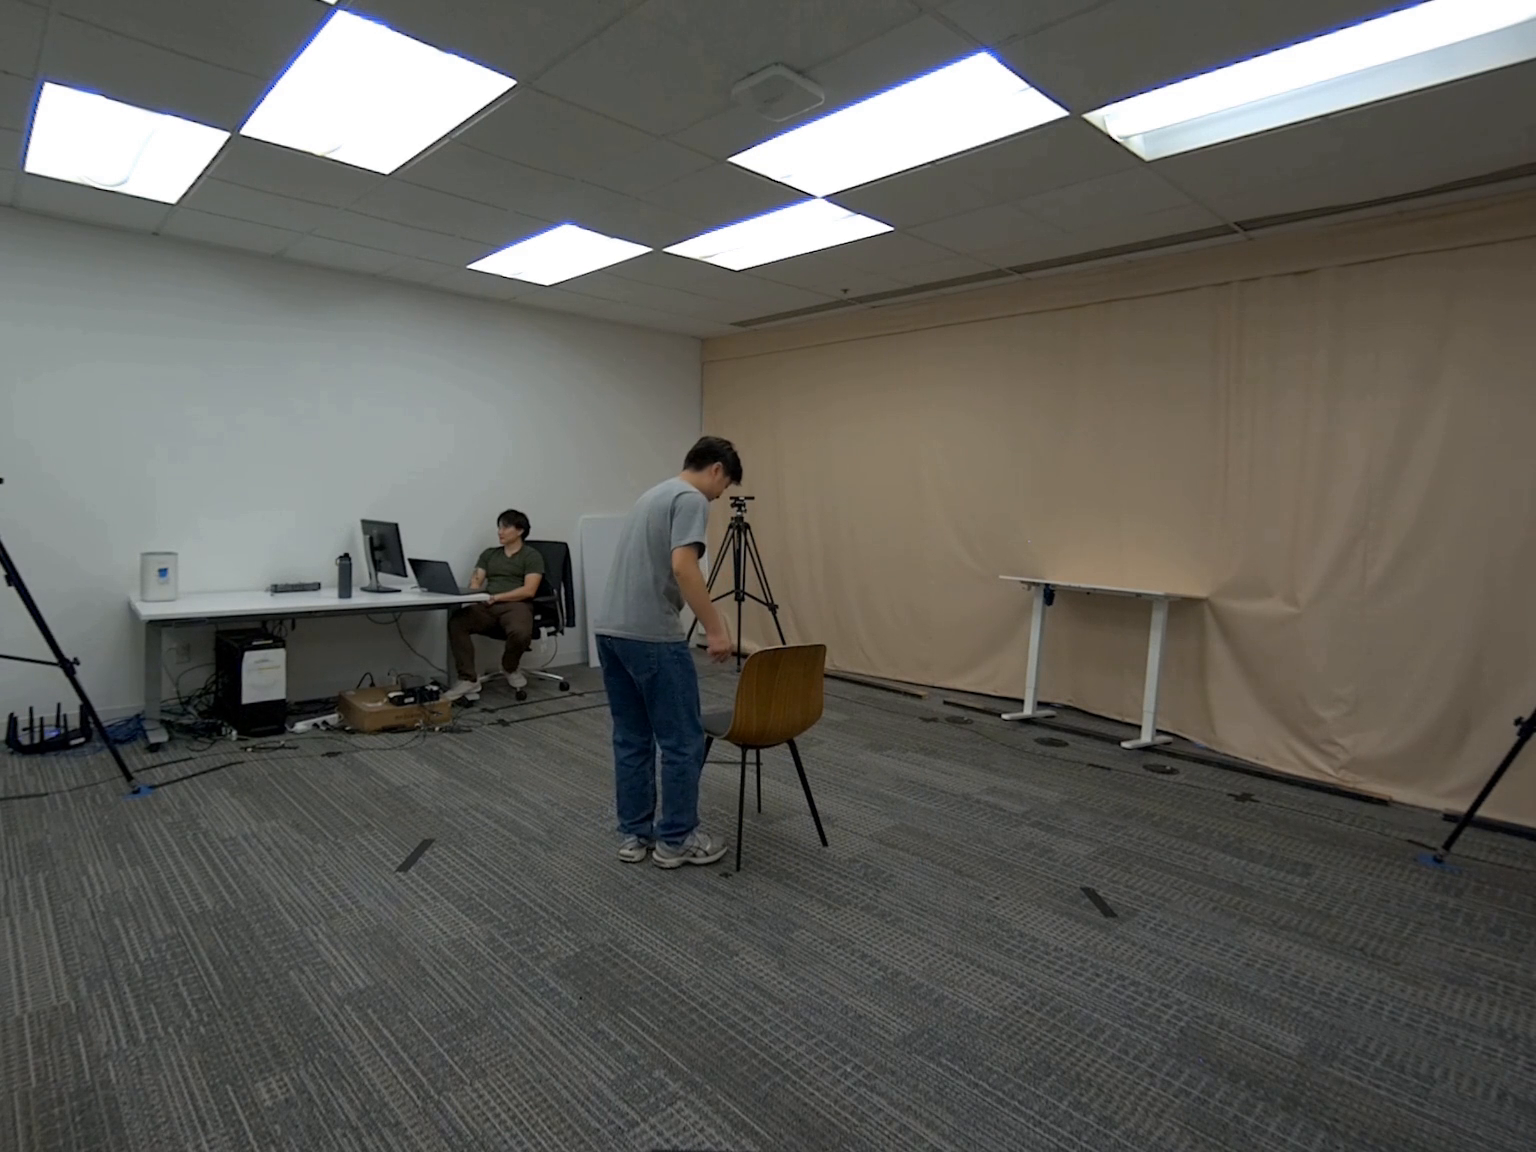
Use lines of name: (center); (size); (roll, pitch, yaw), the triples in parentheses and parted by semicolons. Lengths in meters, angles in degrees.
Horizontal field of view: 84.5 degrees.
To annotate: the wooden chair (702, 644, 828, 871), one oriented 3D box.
wooden chair: (-0.073, 0.649, 3.421); (0.467, 0.873, 0.537); (-1, 9, -37)
